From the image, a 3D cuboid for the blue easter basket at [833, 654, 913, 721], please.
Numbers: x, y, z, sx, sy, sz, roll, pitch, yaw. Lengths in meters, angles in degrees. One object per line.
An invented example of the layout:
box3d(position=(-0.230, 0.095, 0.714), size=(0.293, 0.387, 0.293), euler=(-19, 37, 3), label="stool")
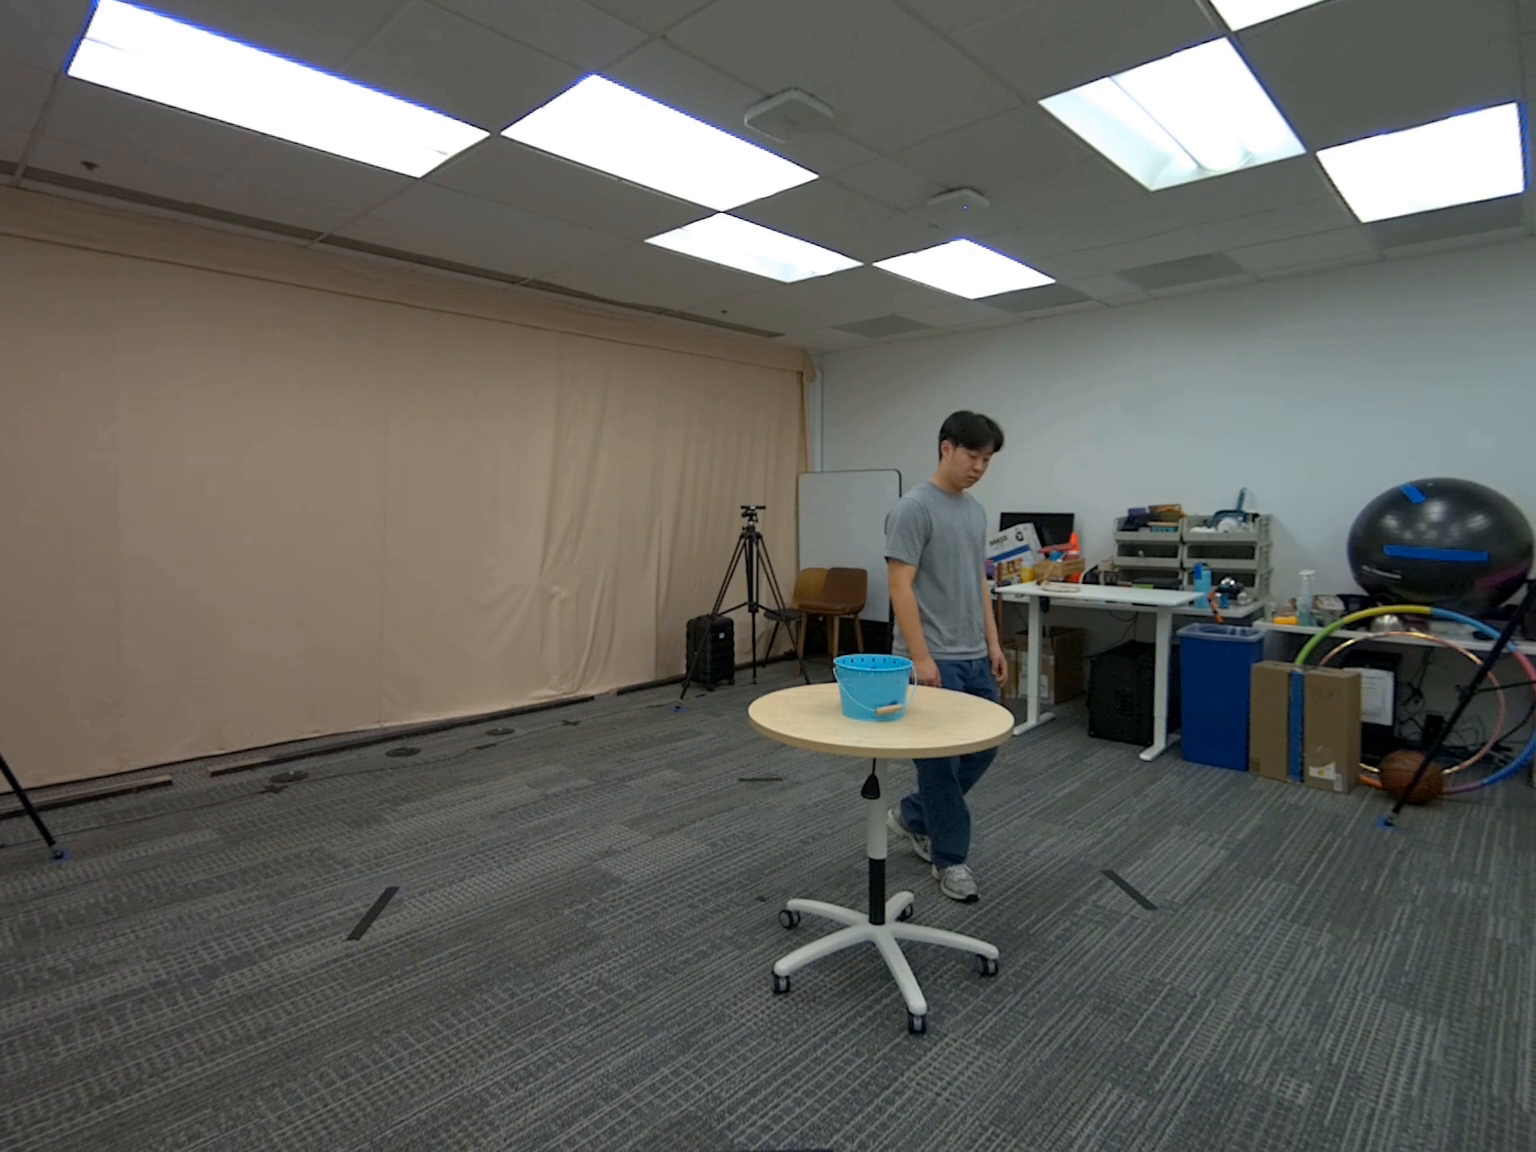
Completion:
box3d(position=(0.315, 0.332, 2.452), size=(0.243, 0.155, 0.244), euler=(0, 4, -2), label="blue easter basket")
